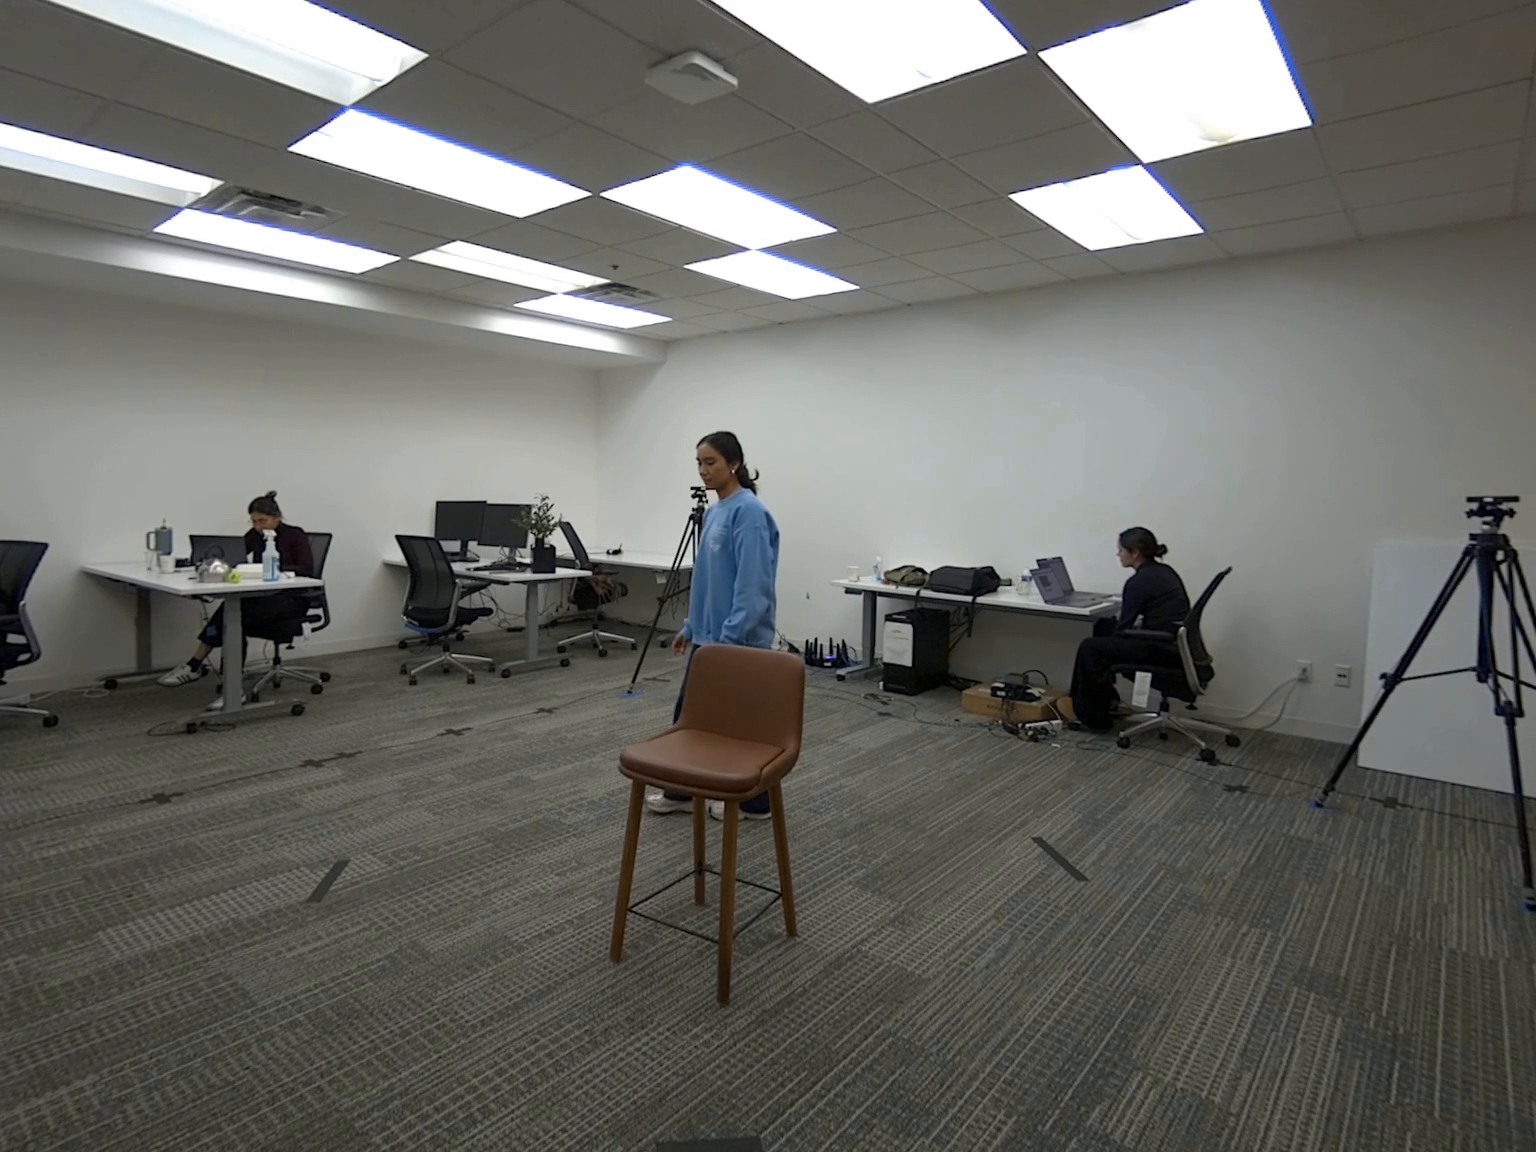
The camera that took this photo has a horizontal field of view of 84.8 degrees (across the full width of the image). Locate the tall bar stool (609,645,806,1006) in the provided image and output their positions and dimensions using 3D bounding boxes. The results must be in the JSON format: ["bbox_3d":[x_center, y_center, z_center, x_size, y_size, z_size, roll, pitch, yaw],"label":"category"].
[{"bbox_3d":[-0.176,0.683,2.554,0.470,0.888,0.454,3,2,32],"label":"tall bar stool"}]
